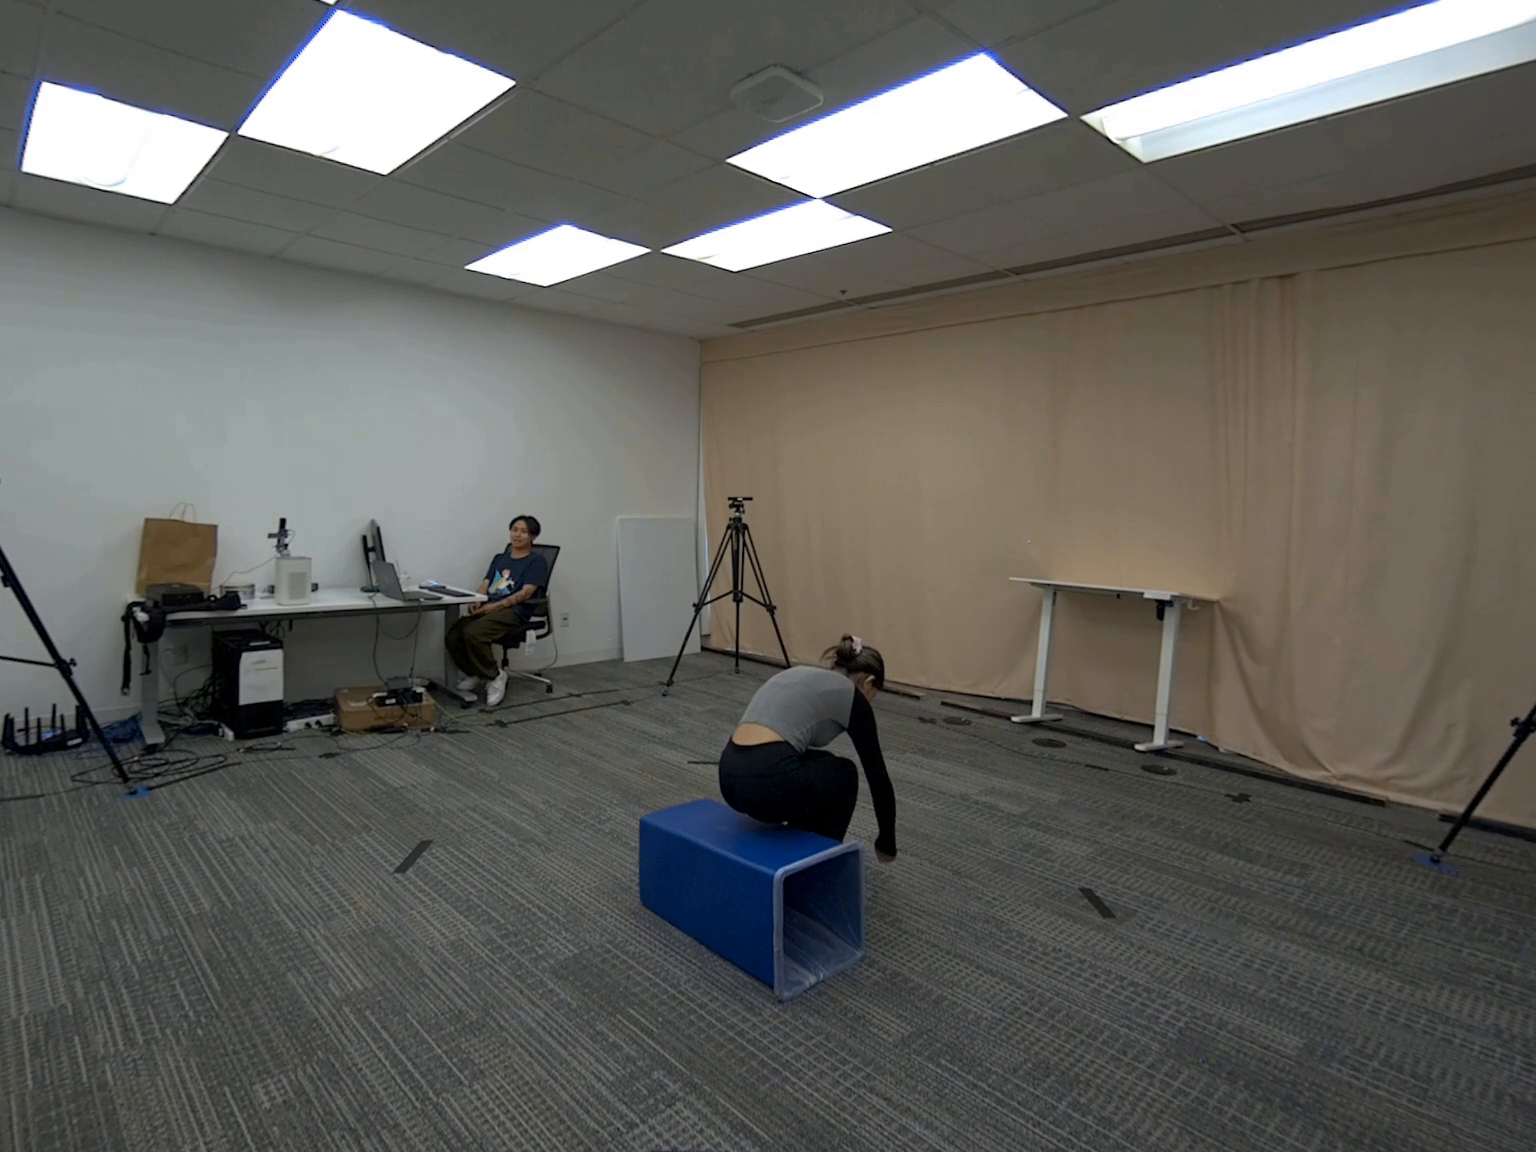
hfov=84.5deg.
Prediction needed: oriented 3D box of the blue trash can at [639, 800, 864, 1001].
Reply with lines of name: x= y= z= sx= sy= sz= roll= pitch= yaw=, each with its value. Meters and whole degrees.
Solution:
blue trash can: x=-0.094 y=0.969 z=2.695 sx=0.369 sy=0.373 sz=0.731 roll=-3 pitch=5 yaw=-43
